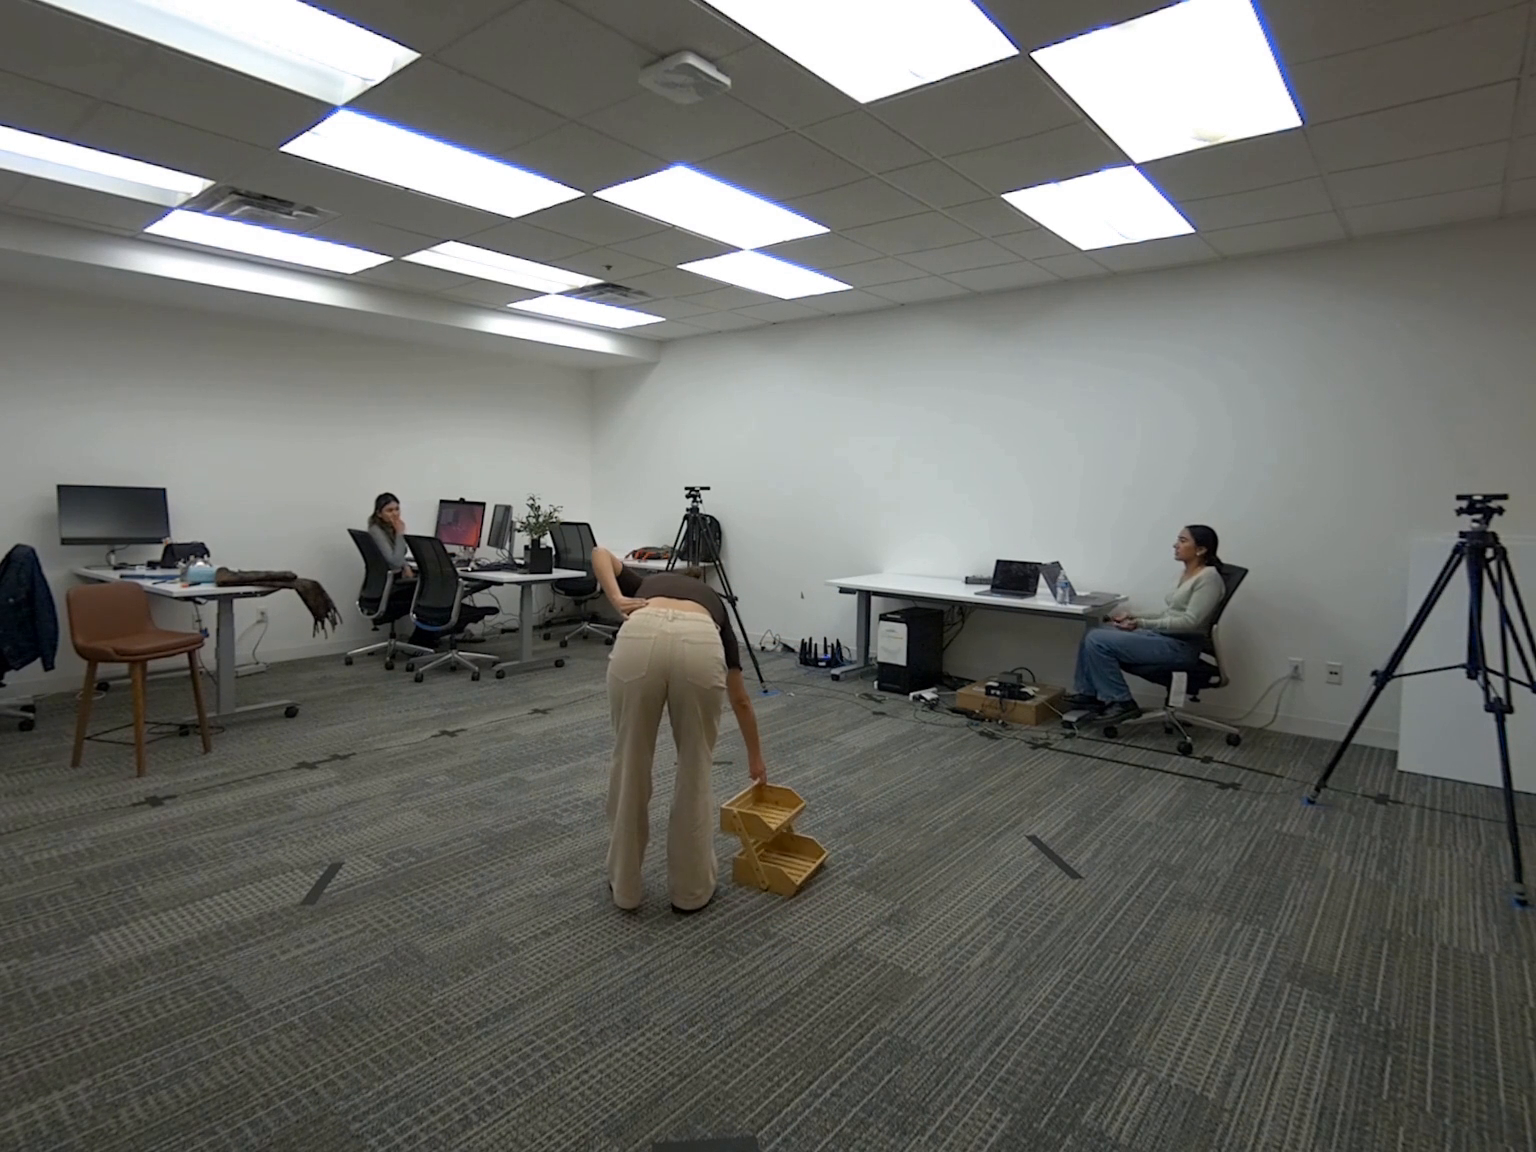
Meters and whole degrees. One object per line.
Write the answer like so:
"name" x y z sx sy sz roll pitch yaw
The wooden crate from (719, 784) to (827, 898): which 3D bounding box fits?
"wooden crate" 0.018 0.936 3.083 0.310 0.272 0.317 2 4 27
